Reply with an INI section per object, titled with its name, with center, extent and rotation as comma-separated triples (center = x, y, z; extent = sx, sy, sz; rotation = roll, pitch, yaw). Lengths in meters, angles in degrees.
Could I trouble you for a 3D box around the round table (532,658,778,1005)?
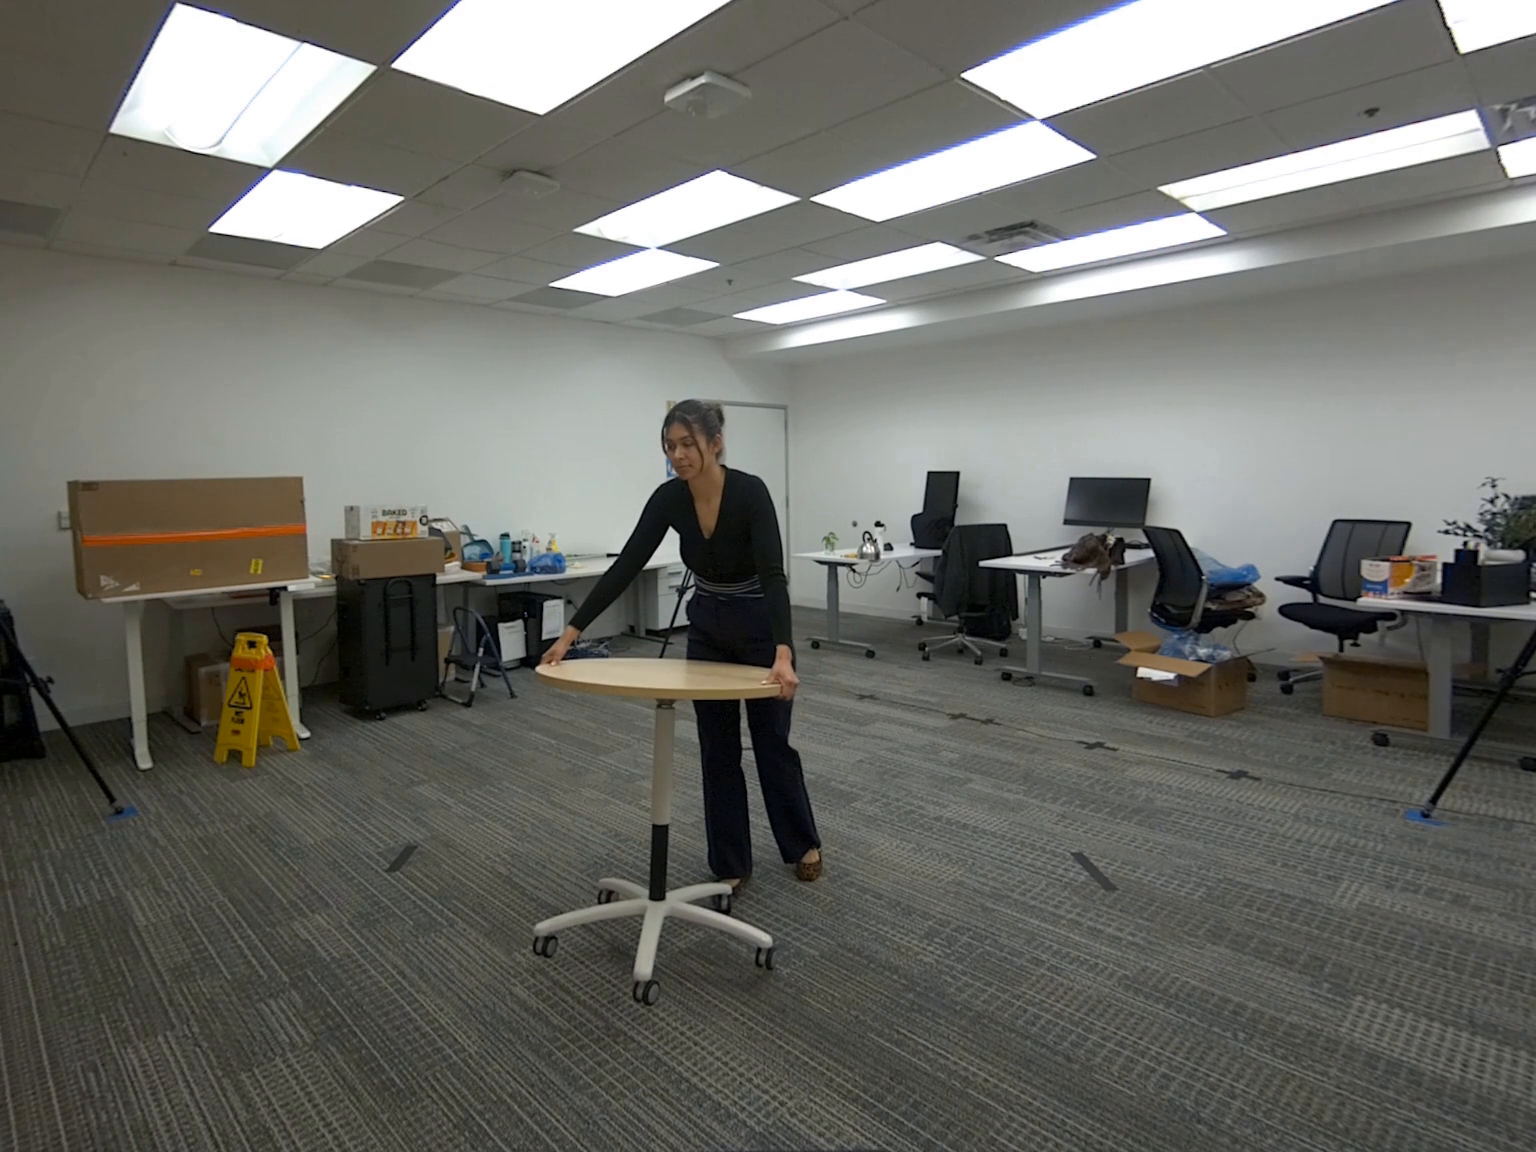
[round table]
center = -0.306, 0.688, 2.502
extent = 0.763, 0.796, 0.763
rotation = 2, -2, -2
